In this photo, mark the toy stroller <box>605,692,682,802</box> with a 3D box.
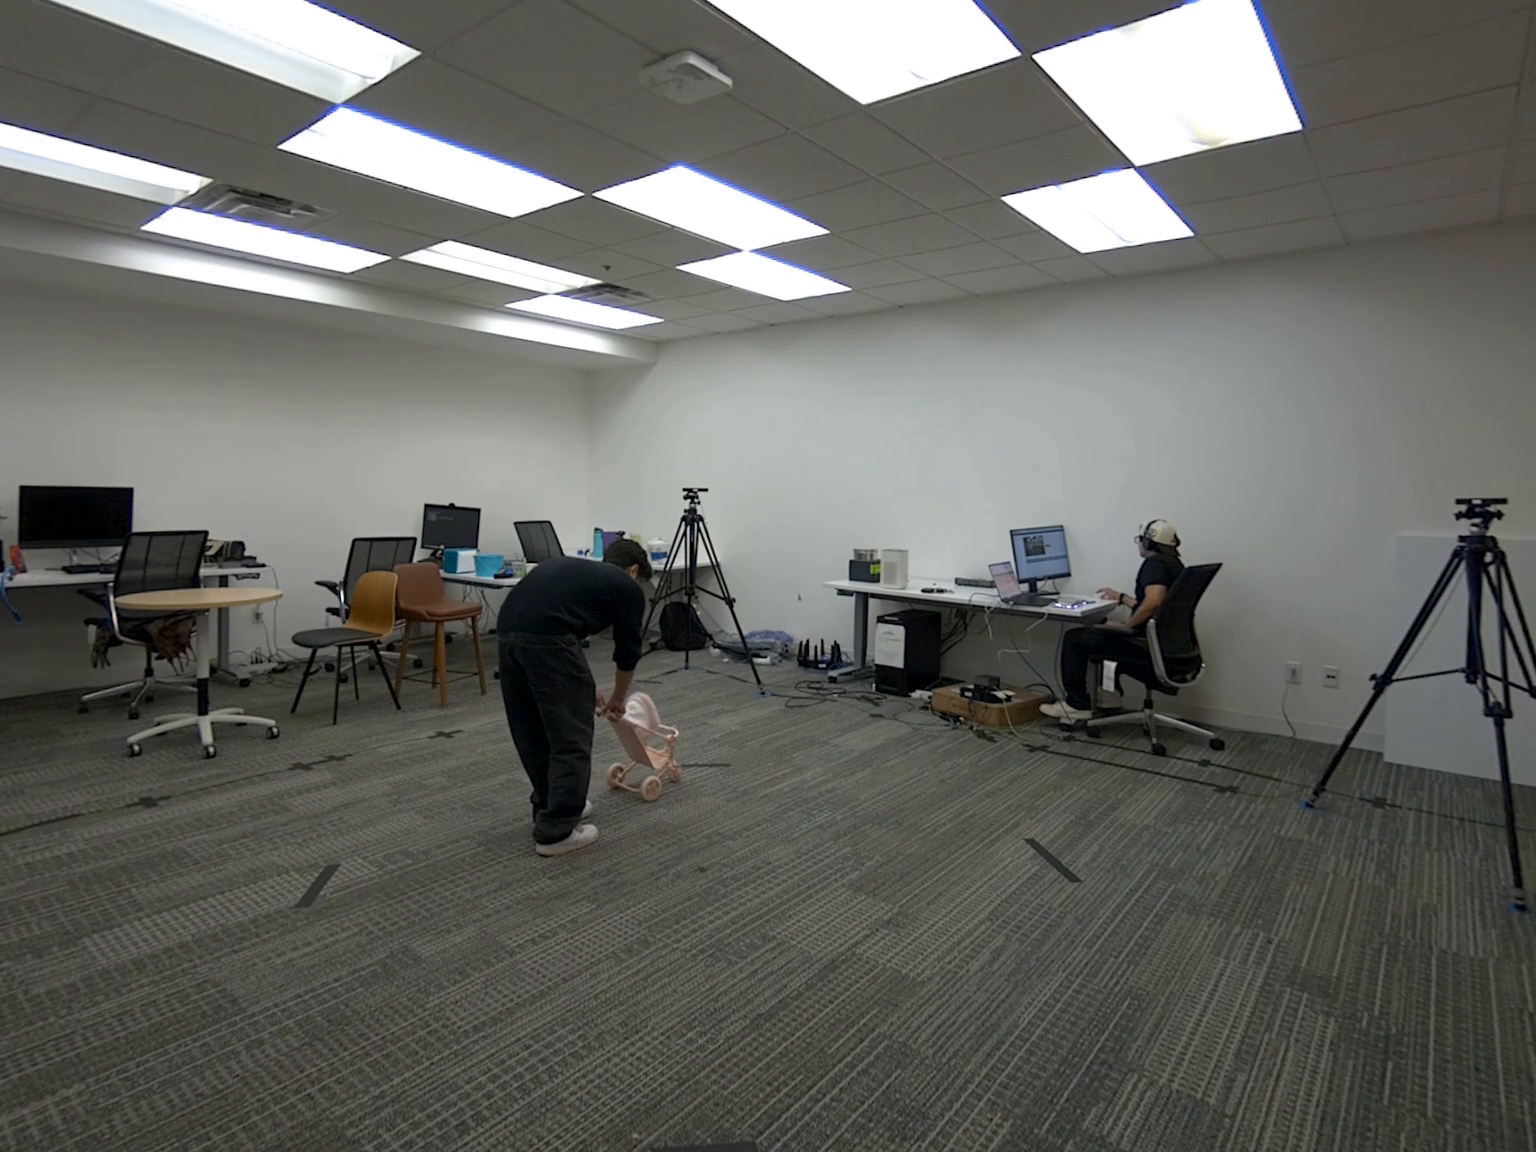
[{"bbox_3d":[-0.583,0.763,3.903,0.336,0.525,0.291,-26,20,-38],"label":"toy stroller"}]
